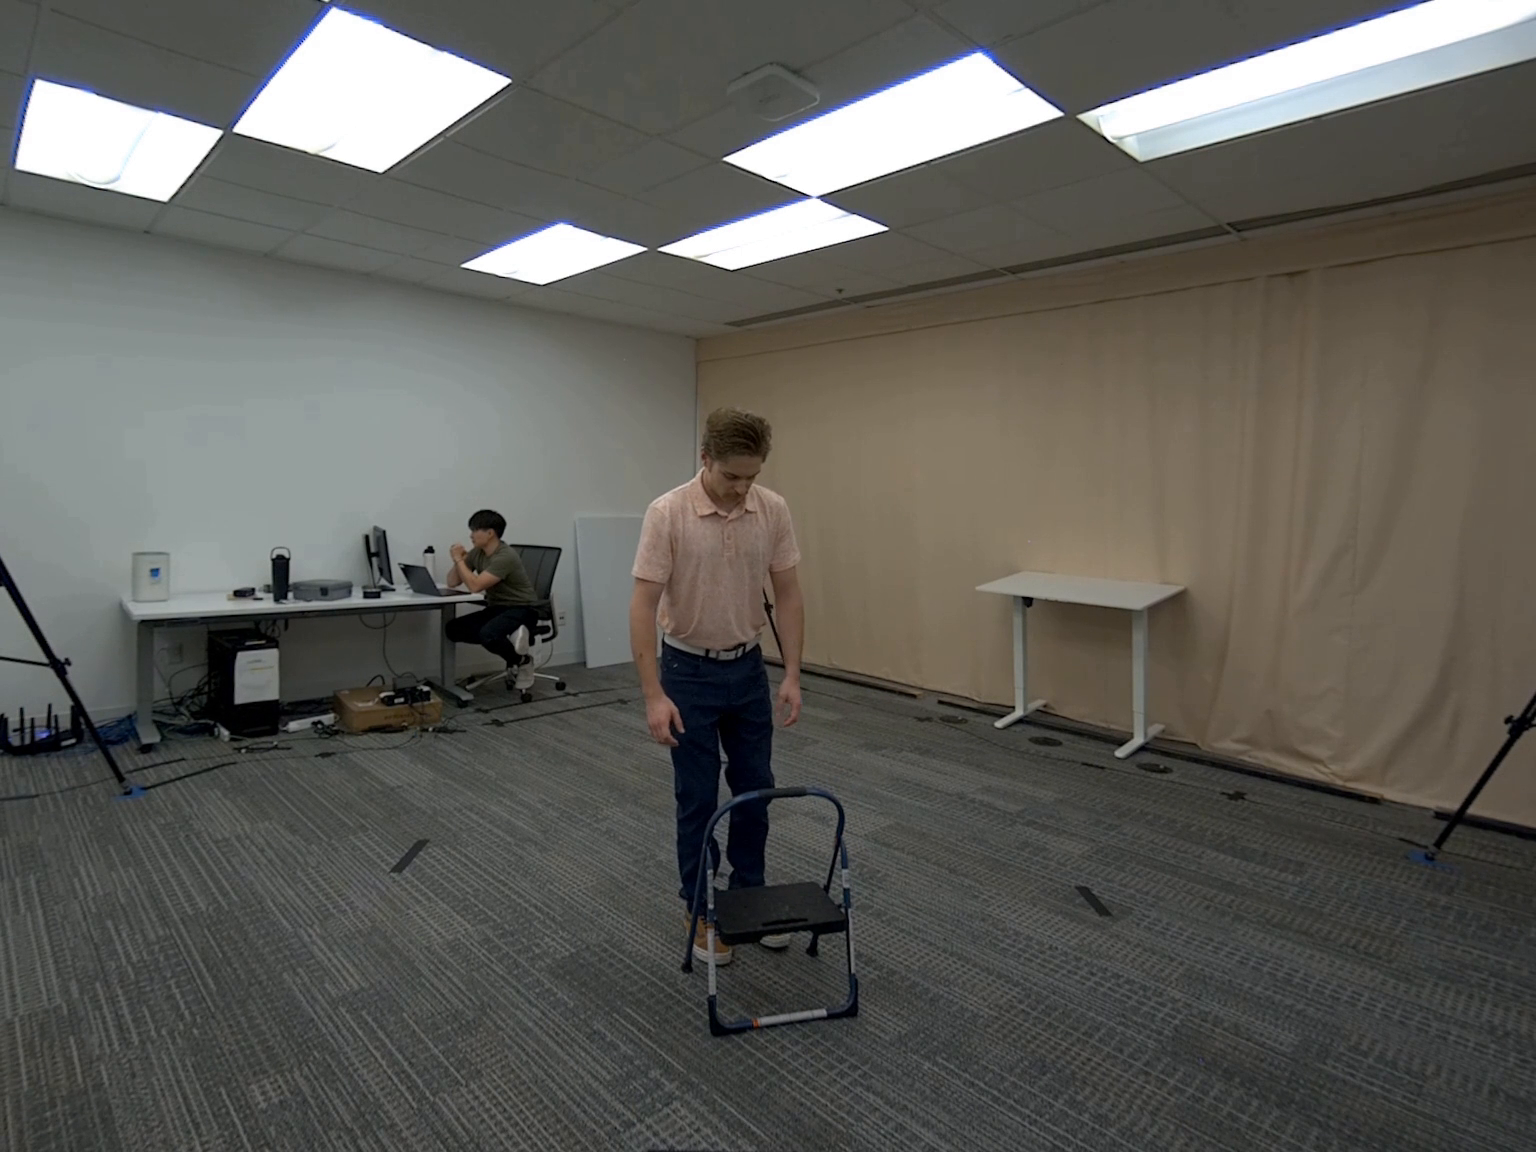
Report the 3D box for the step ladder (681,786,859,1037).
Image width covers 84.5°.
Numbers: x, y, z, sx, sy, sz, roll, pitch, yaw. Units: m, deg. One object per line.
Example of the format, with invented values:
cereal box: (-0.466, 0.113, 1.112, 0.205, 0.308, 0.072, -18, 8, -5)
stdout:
step ladder: (0.001, 0.875, 2.366, 0.425, 0.605, 0.355, 1, 3, -18)
